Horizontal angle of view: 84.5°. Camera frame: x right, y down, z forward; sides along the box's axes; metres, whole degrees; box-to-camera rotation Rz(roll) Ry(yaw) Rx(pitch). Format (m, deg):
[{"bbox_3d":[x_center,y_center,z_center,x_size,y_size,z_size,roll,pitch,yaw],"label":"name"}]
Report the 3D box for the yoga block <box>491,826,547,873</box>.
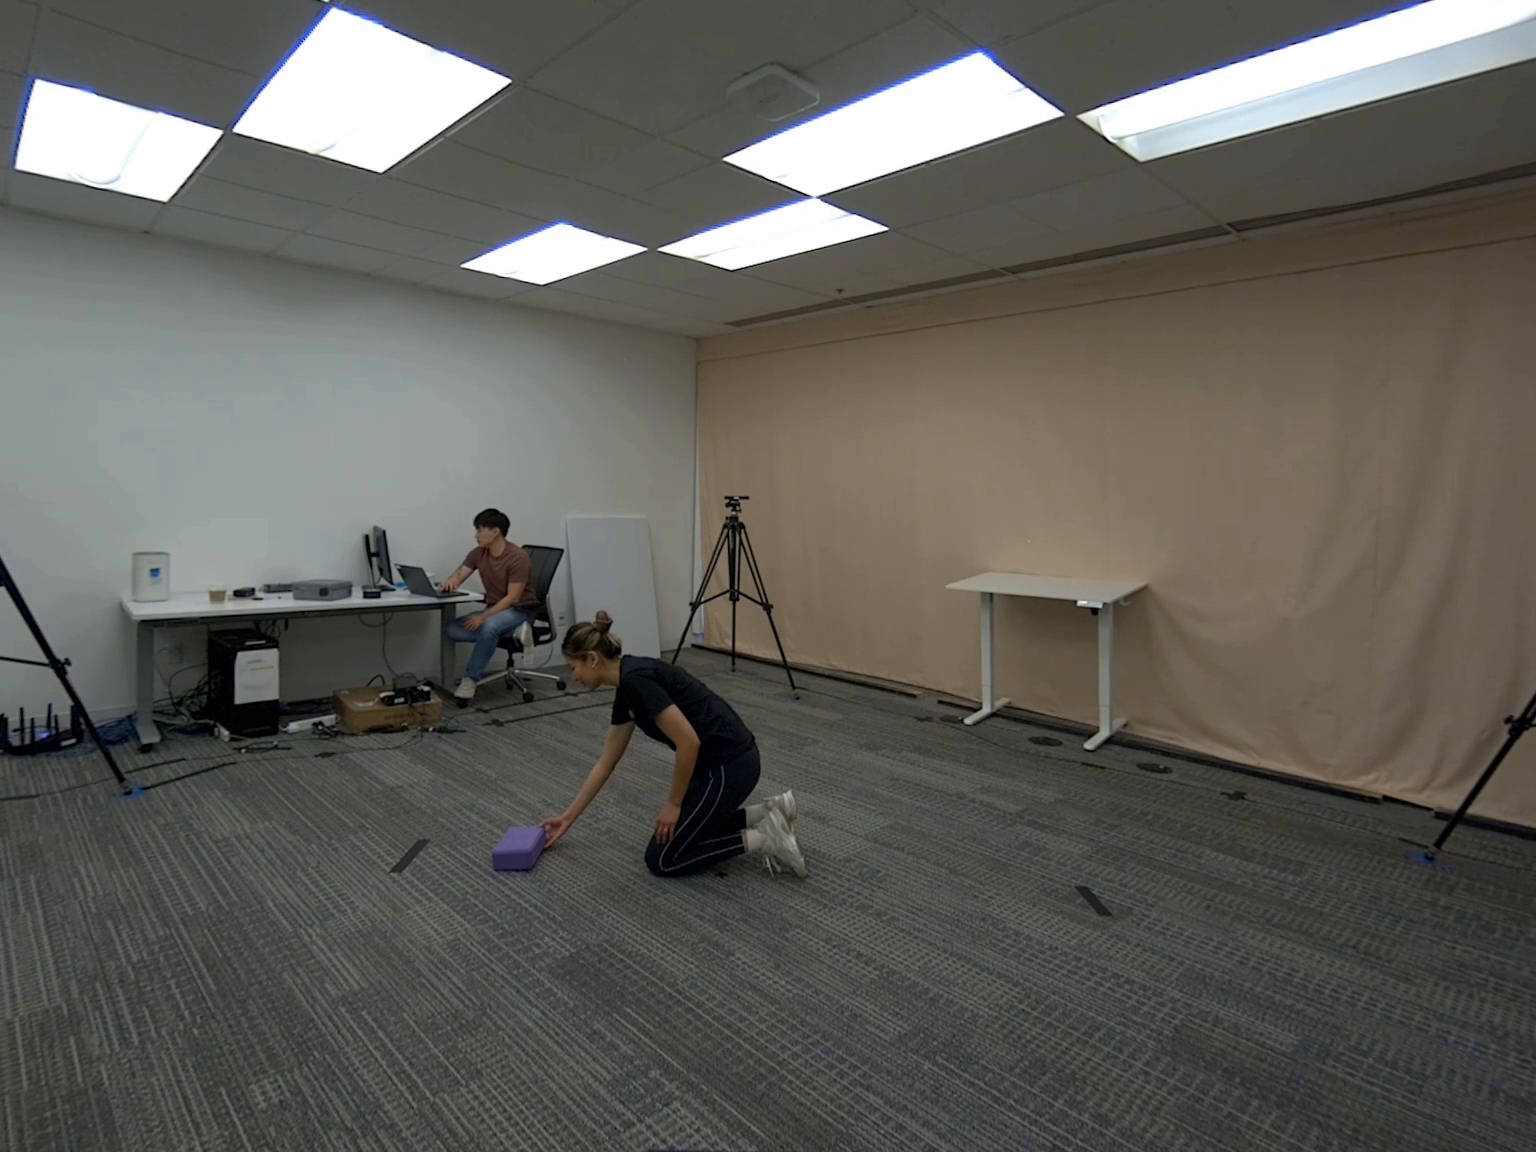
[{"bbox_3d":[-0.941,1.025,3.196,0.149,0.076,0.230,-2,6,1],"label":"yoga block"}]
